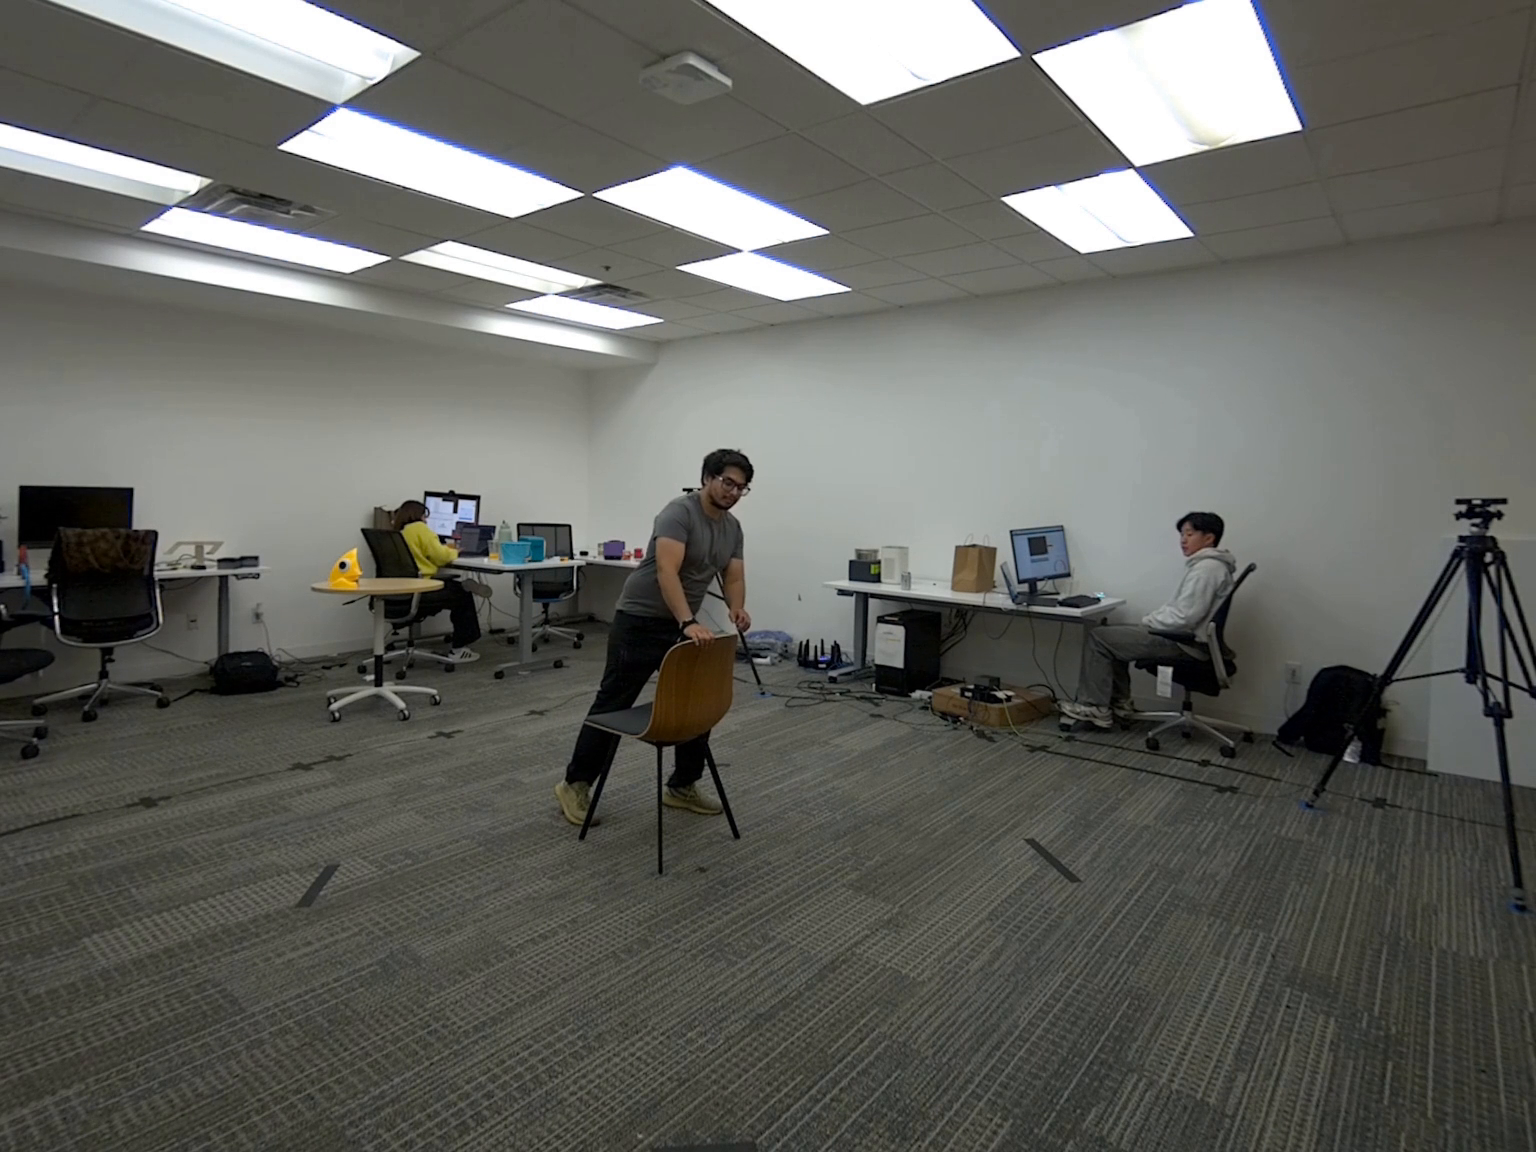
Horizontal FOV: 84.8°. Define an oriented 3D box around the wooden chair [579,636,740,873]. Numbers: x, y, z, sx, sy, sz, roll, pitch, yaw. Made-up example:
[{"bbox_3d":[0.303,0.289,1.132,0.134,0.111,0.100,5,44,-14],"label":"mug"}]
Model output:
[{"bbox_3d":[-0.432,0.614,3.349,0.542,0.873,0.464,8,7,38],"label":"wooden chair"}]
